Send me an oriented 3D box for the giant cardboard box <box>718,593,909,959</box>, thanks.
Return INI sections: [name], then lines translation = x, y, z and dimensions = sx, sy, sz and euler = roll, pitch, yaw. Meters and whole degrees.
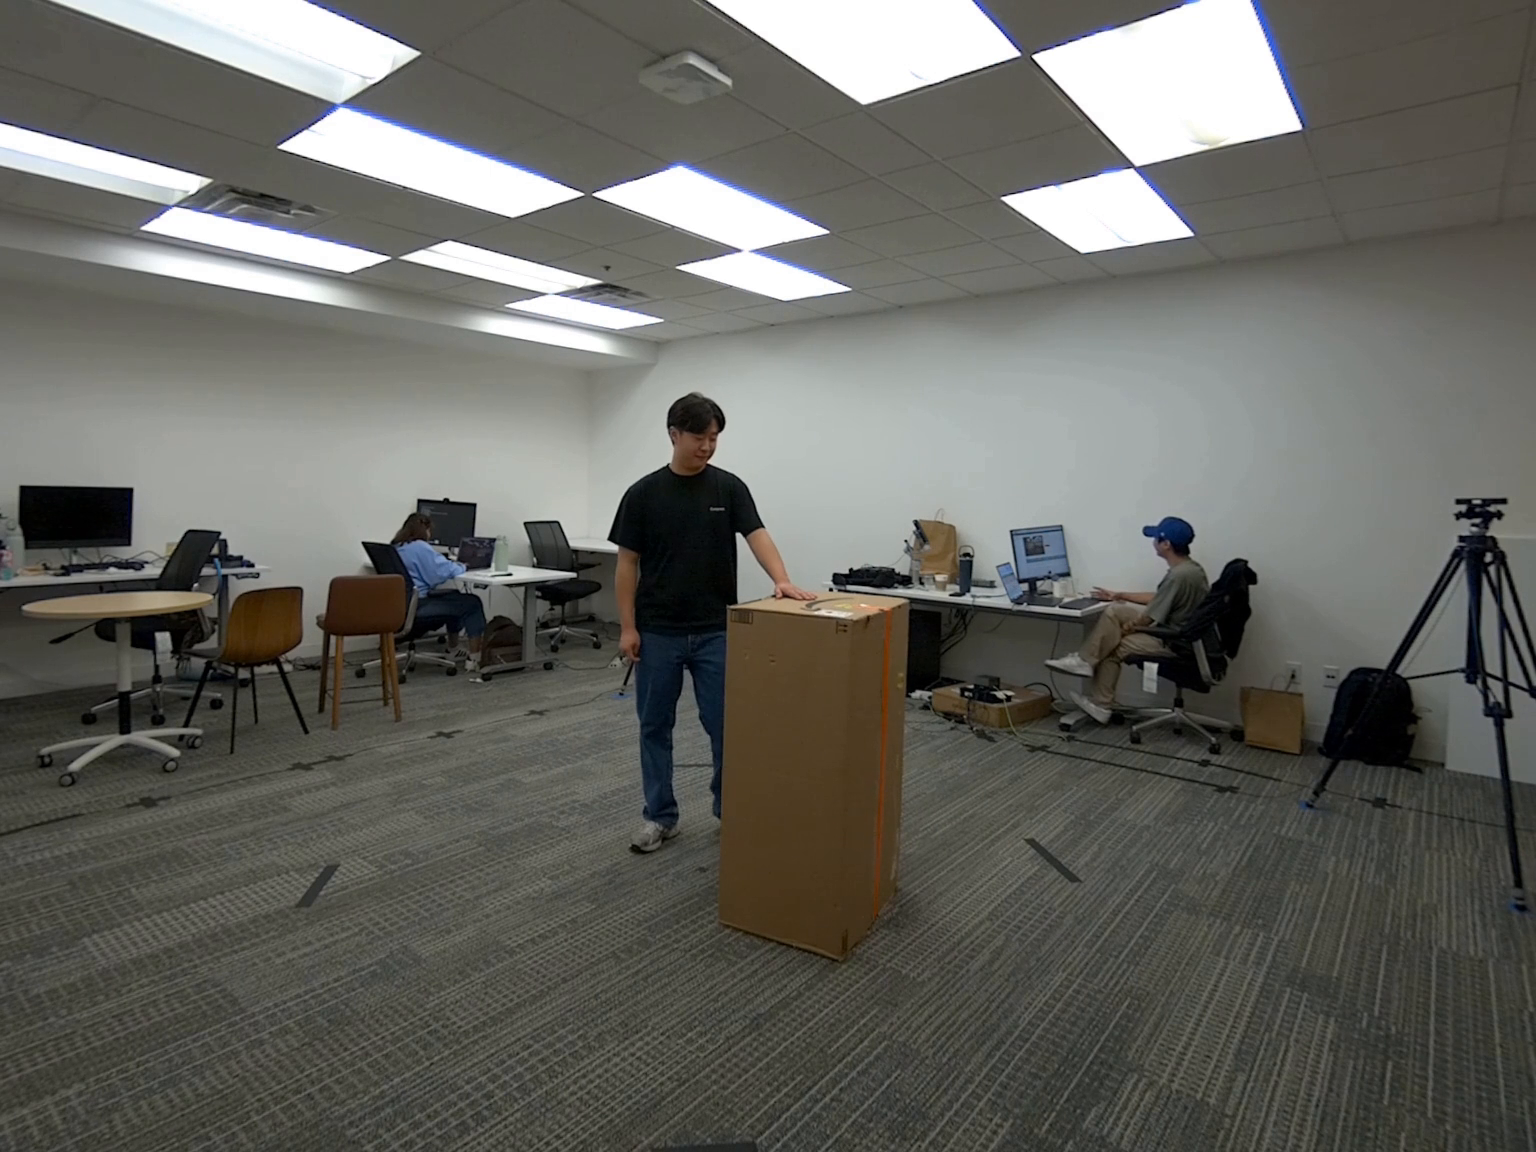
[giant cardboard box]
translation = 0.161, 0.590, 2.838
dimensions = 0.460, 1.024, 0.569
euler = 4, 4, 28
